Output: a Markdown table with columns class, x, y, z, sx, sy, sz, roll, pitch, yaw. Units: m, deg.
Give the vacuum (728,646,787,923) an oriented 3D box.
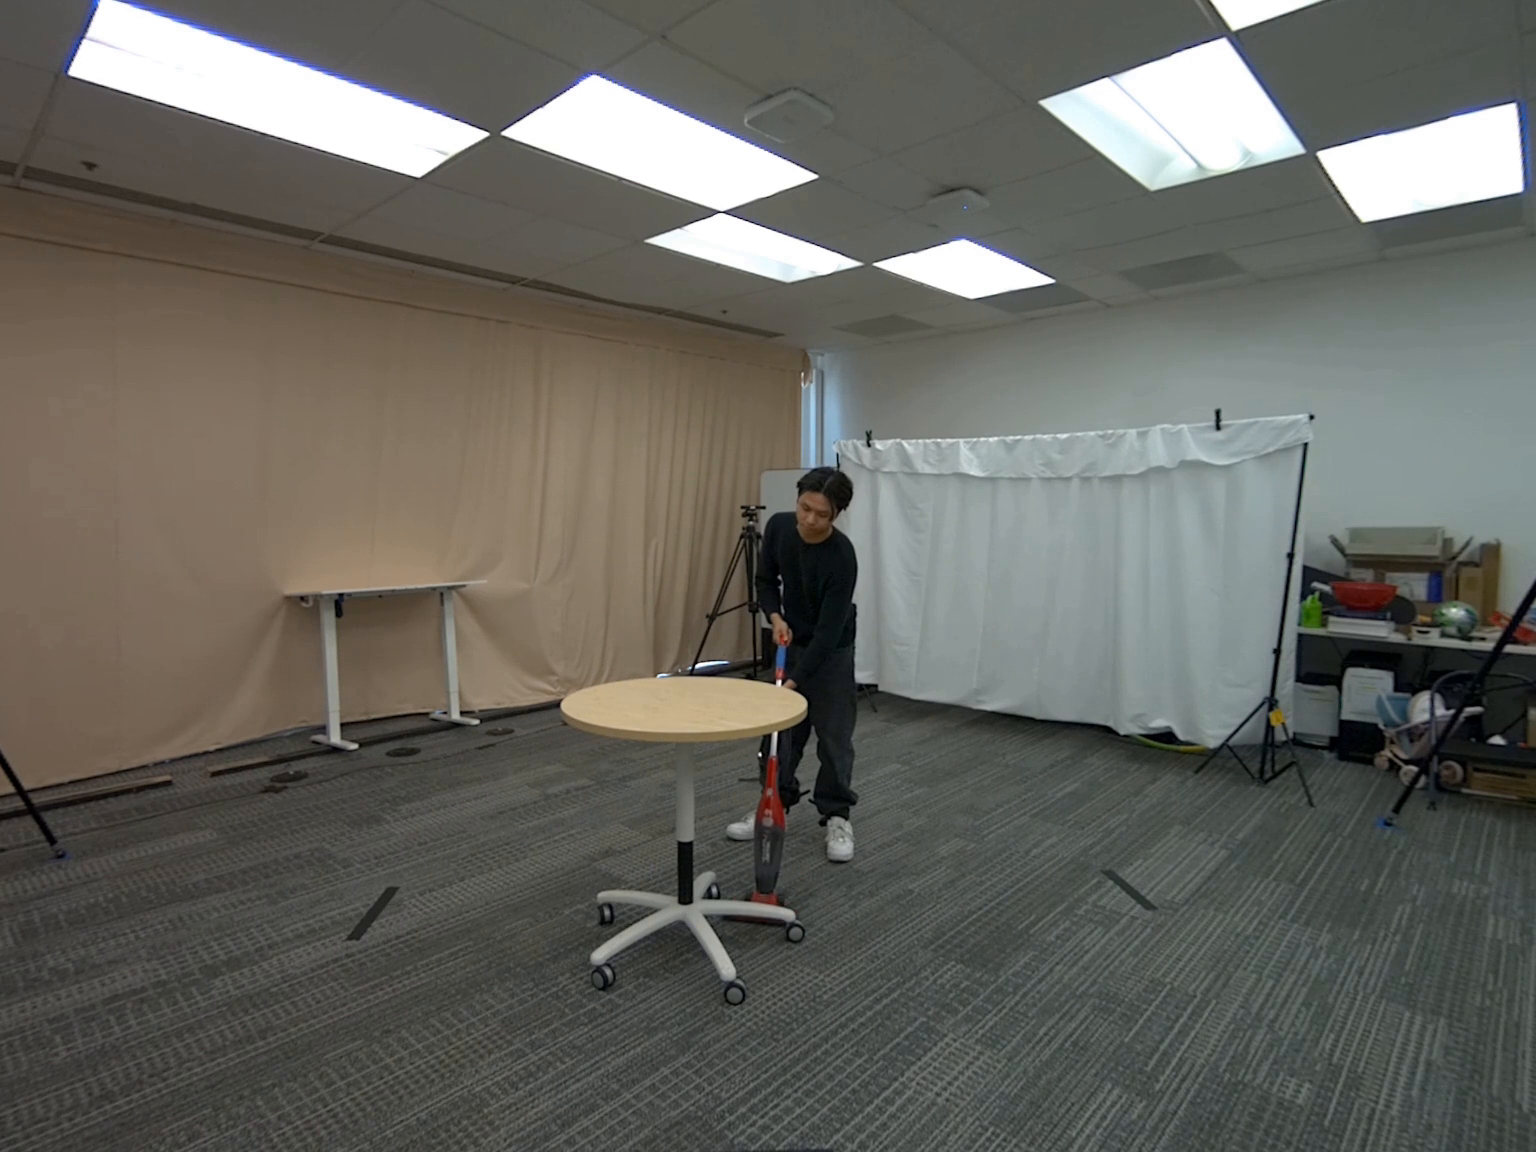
| class | x | y | z | sx | sy | sz | roll | pitch | yaw |
| --- | --- | --- | --- | --- | --- | --- | --- | --- | --- |
| vacuum | 0.032 | 0.667 | 3.137 | 0.257 | 1.063 | 0.140 | -4 | -31 | 17 |
